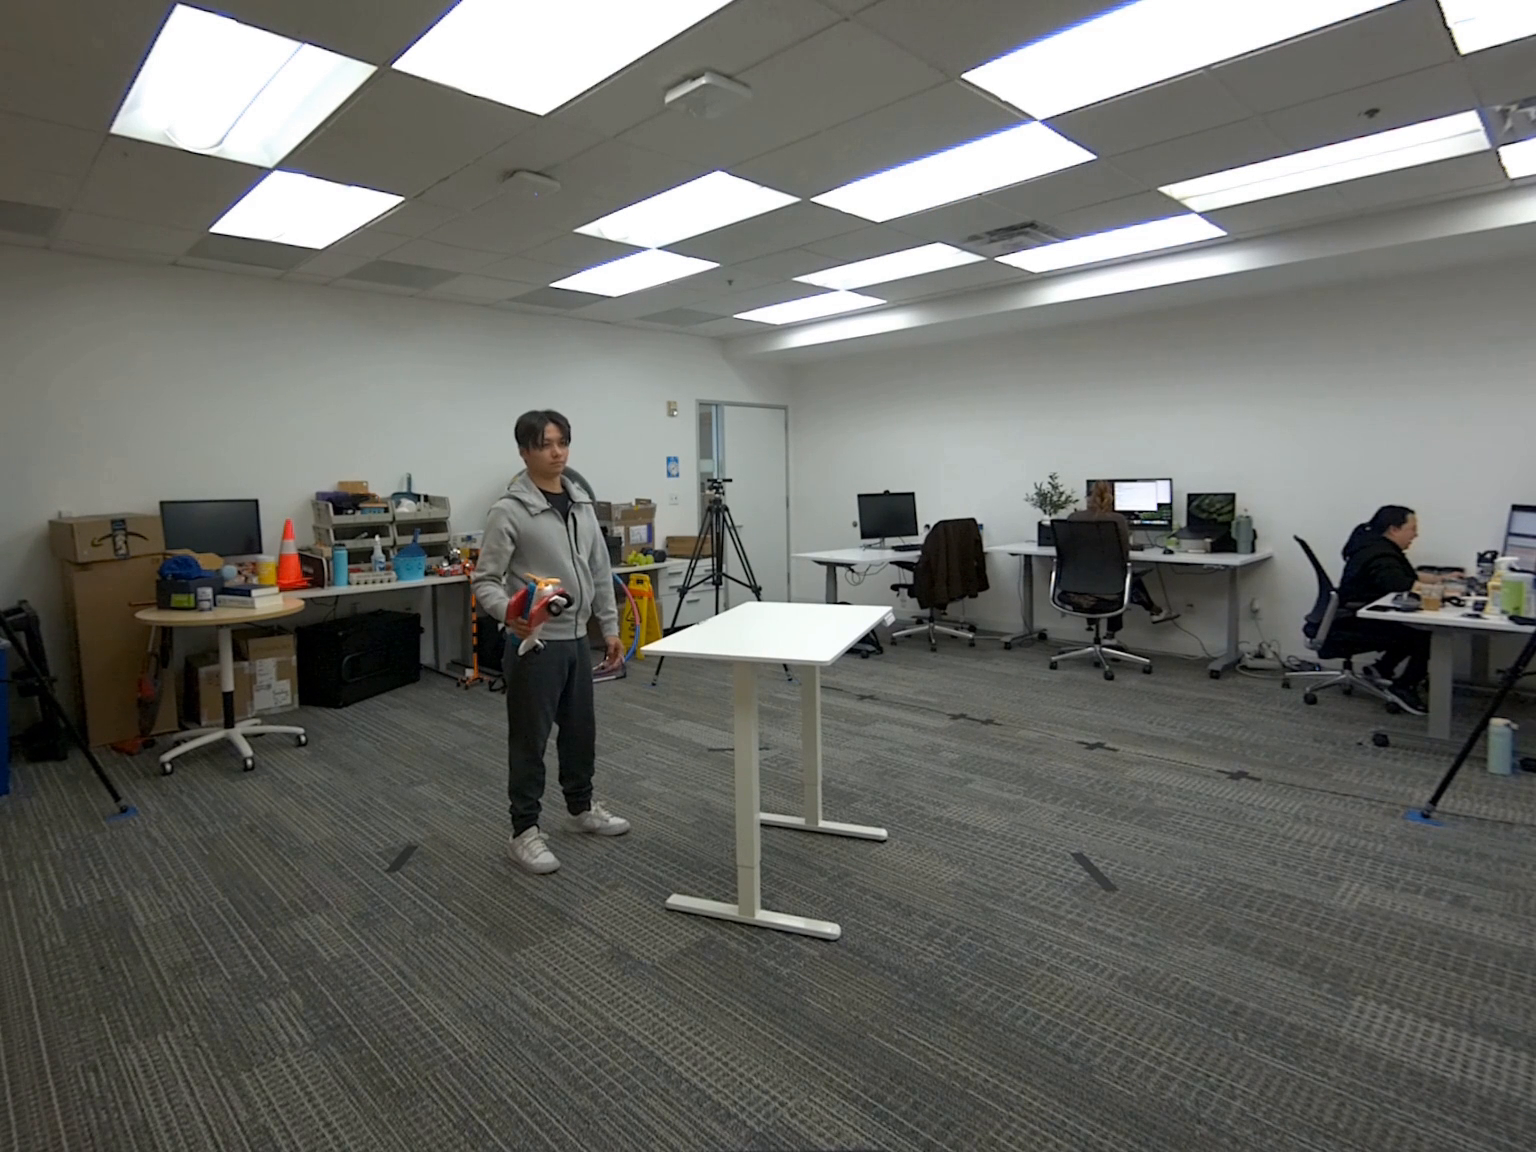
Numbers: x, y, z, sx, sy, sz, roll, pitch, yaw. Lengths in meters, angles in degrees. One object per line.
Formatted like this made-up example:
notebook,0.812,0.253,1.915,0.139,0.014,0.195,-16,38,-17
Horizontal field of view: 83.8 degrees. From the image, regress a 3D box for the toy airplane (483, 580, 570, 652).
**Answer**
toy airplane,-0.754,0.137,2.775,0.157,0.260,0.249,29,-10,2
